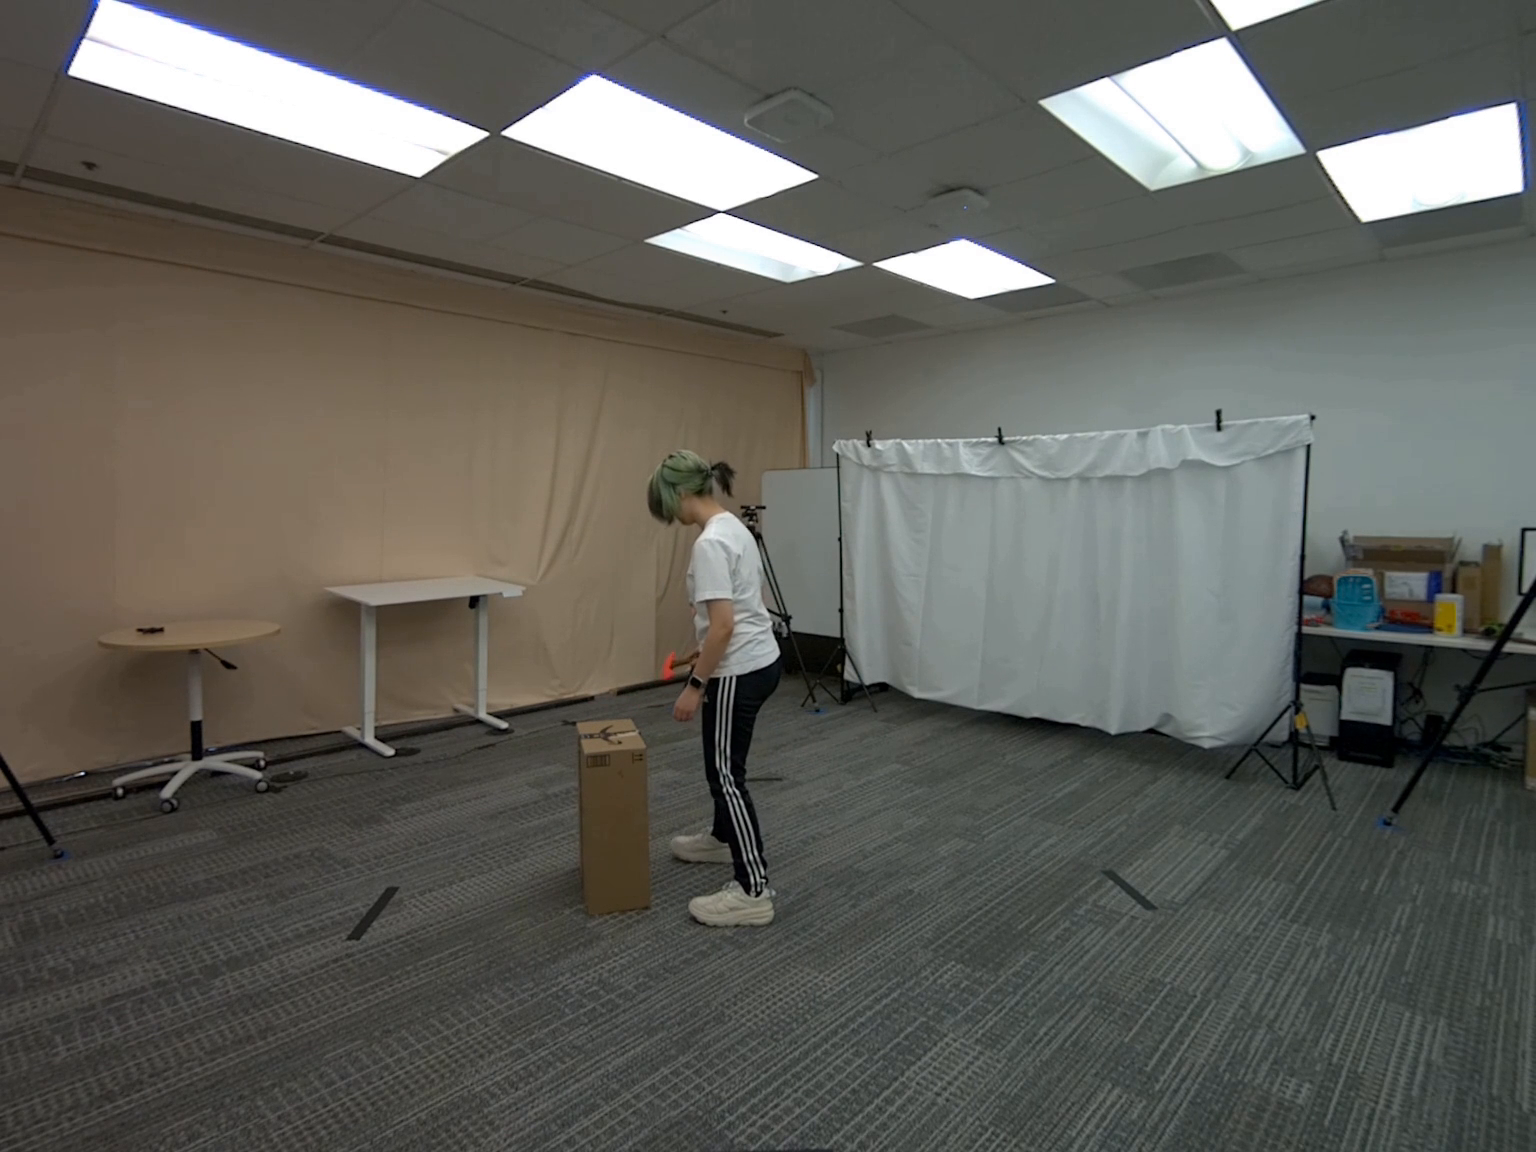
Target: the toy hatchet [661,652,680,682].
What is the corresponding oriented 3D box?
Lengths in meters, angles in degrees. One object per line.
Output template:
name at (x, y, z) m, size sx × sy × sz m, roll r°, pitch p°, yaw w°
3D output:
toy hatchet at (-0.335, 0.366, 3.275) m, size 0.029 × 0.131 × 0.279 m, roll 44°, pitch -21°, yaw -30°
